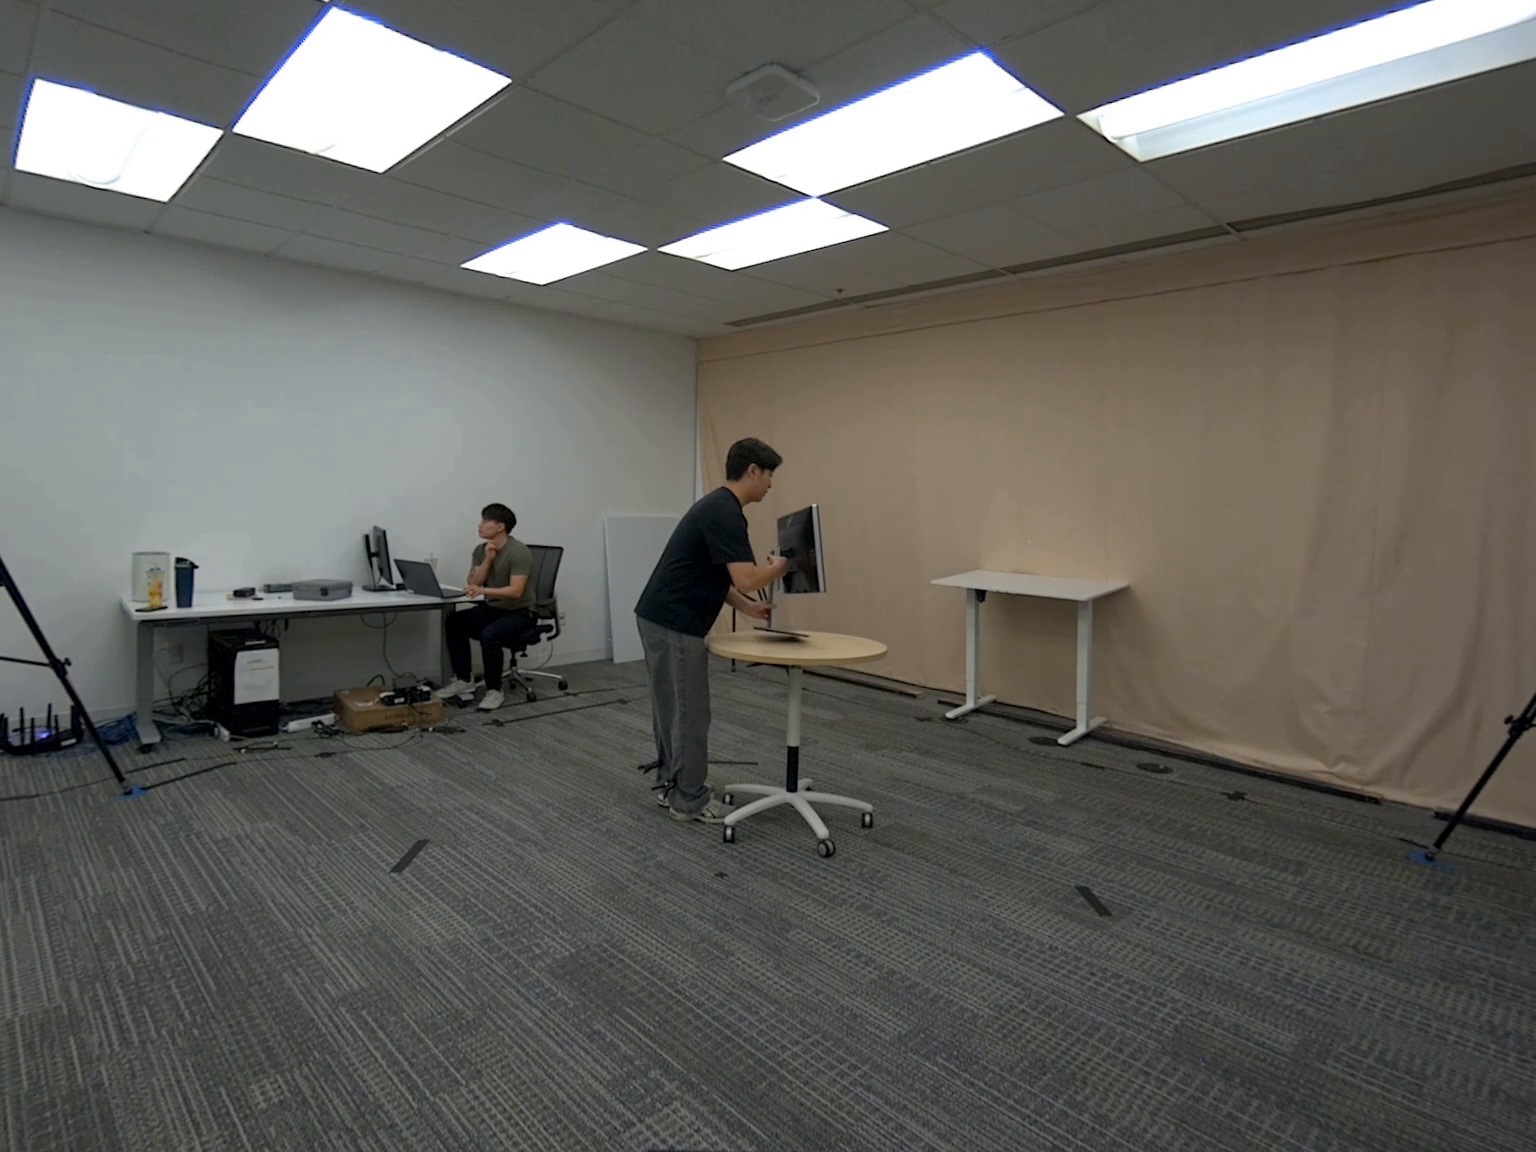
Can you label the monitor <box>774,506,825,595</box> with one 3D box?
[{"bbox_3d":[0.092,-0.006,3.715,0.220,0.568,0.565,10,-5,-10],"label":"monitor"}]
